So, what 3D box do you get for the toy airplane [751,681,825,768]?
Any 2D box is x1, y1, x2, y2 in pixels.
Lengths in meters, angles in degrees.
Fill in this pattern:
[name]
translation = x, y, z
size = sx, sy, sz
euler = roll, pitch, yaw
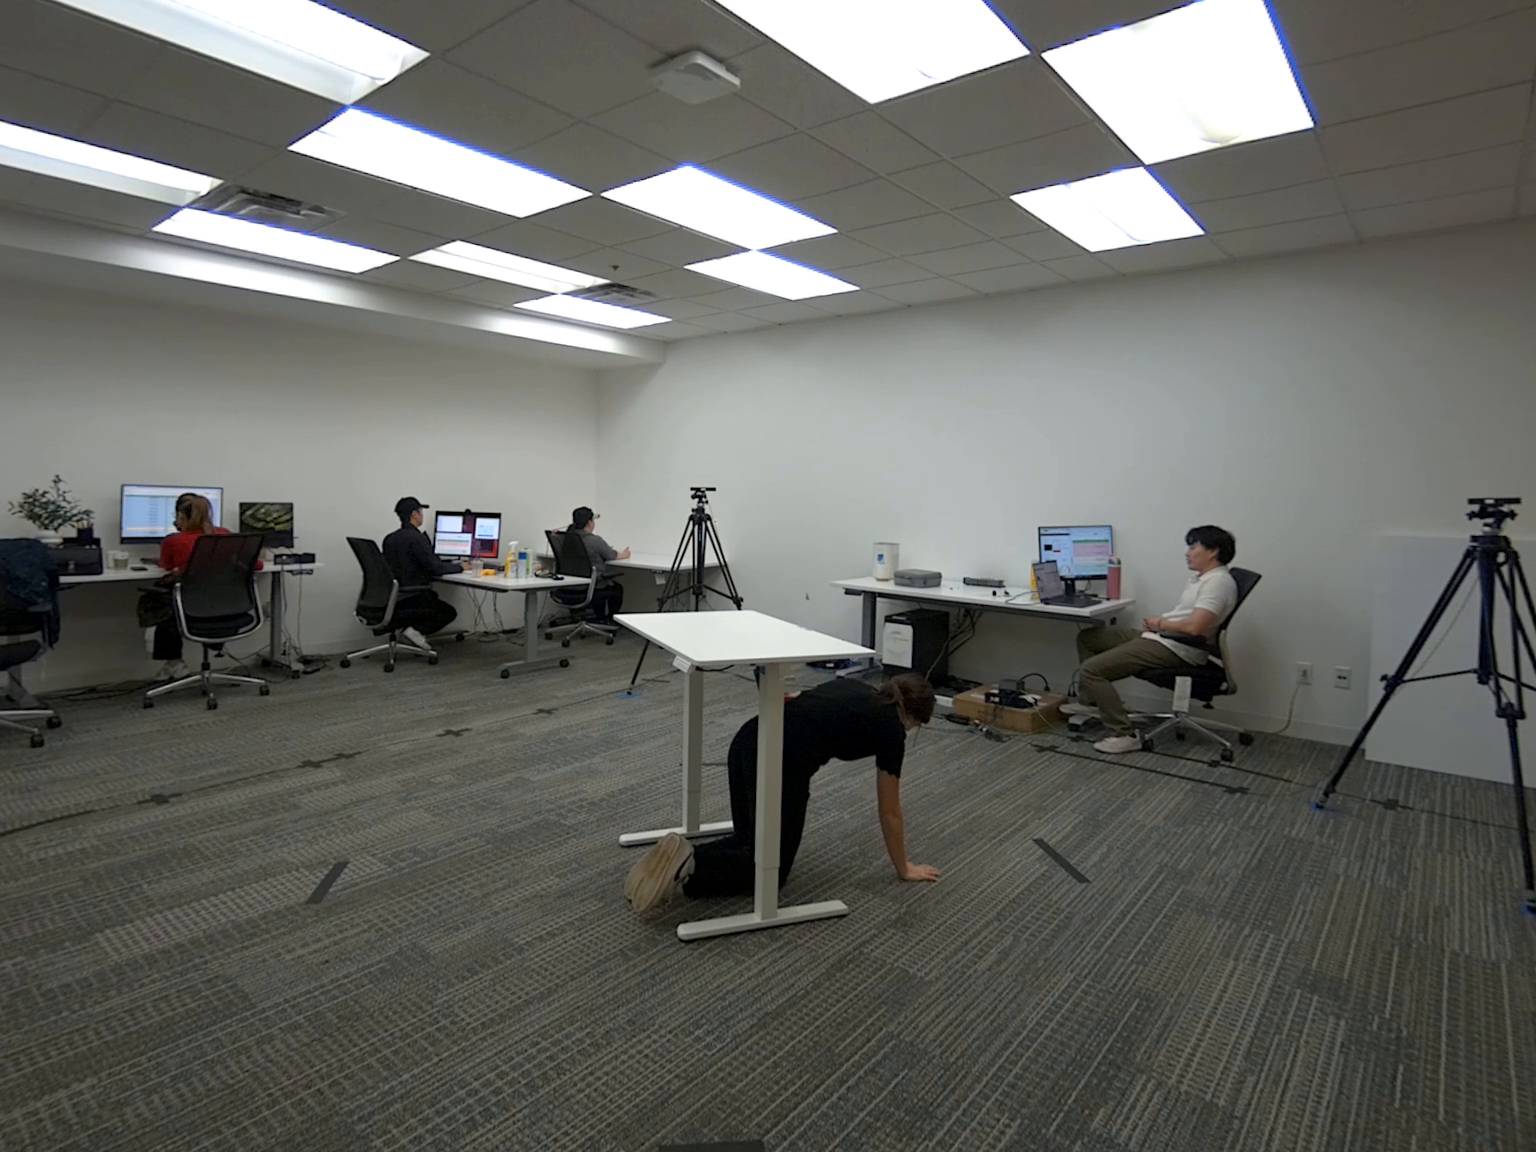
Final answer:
[toy airplane]
translation = 0.113, 0.567, 3.249
size = 0.255, 0.252, 0.158
euler = -15, -4, -19
